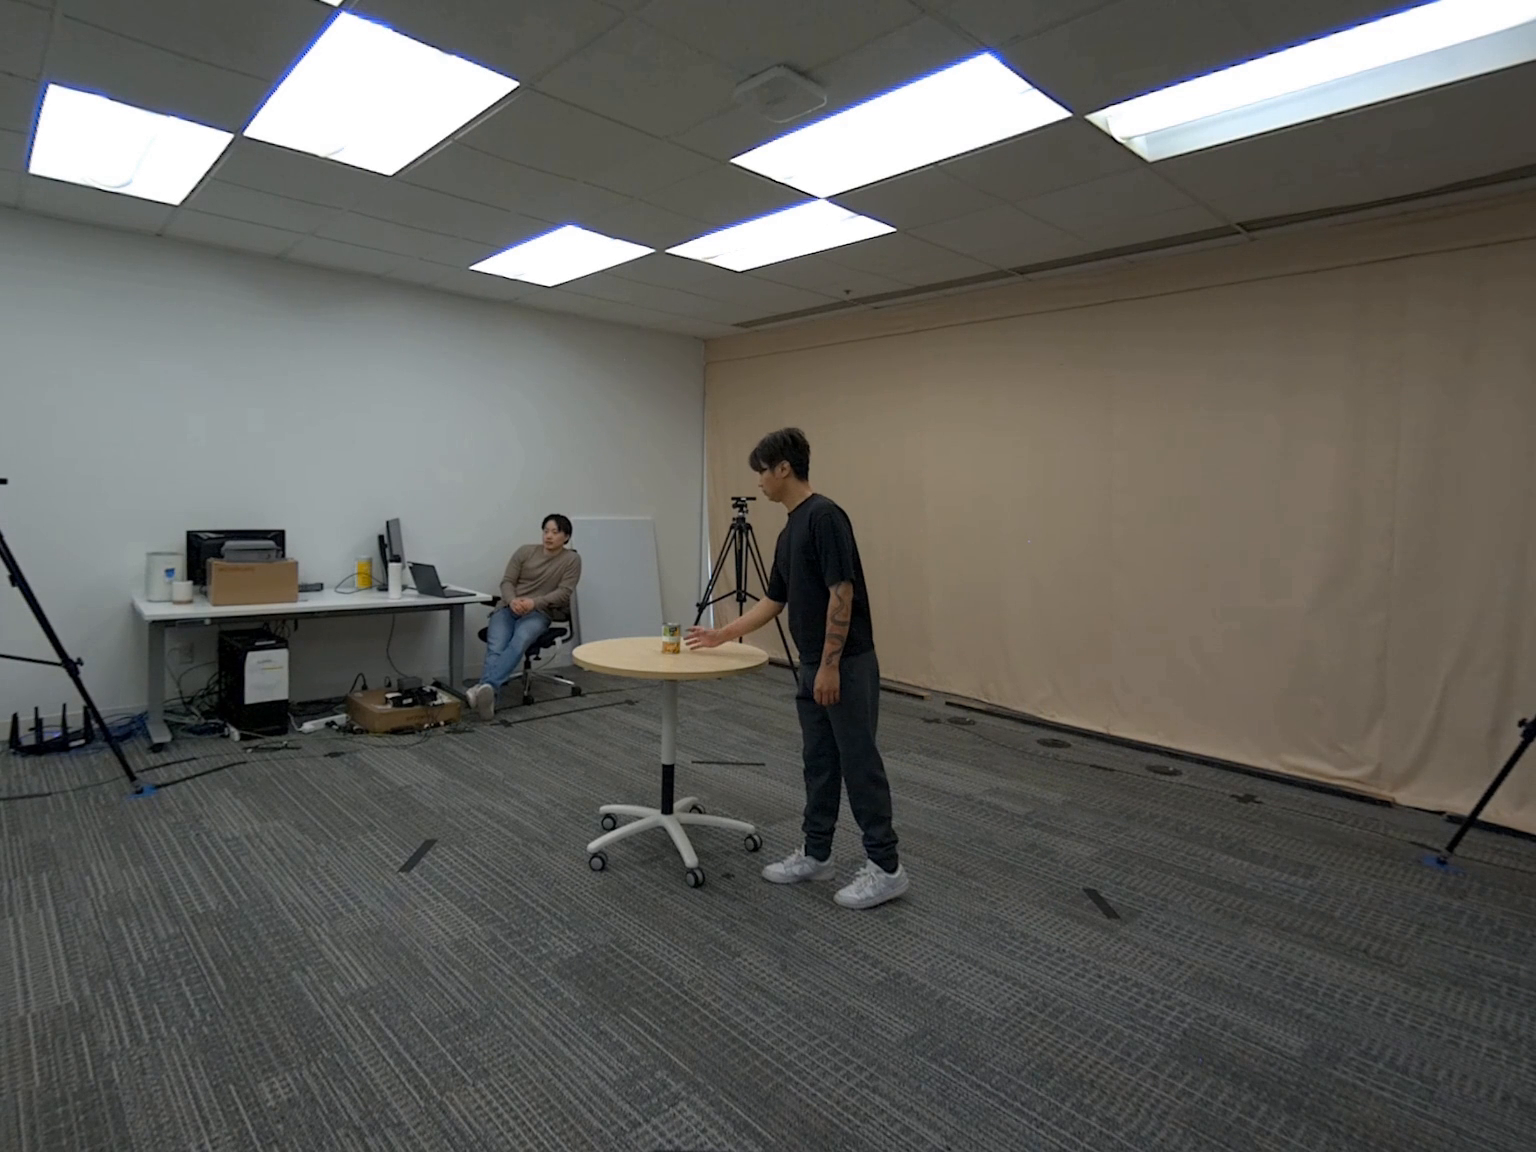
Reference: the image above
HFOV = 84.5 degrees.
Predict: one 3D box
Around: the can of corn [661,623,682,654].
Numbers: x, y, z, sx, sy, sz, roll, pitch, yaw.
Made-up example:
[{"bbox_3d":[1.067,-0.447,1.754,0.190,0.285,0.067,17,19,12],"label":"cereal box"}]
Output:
[{"bbox_3d":[-0.383,0.243,3.301,0.074,0.111,0.074,1,4,-1],"label":"can of corn"}]
